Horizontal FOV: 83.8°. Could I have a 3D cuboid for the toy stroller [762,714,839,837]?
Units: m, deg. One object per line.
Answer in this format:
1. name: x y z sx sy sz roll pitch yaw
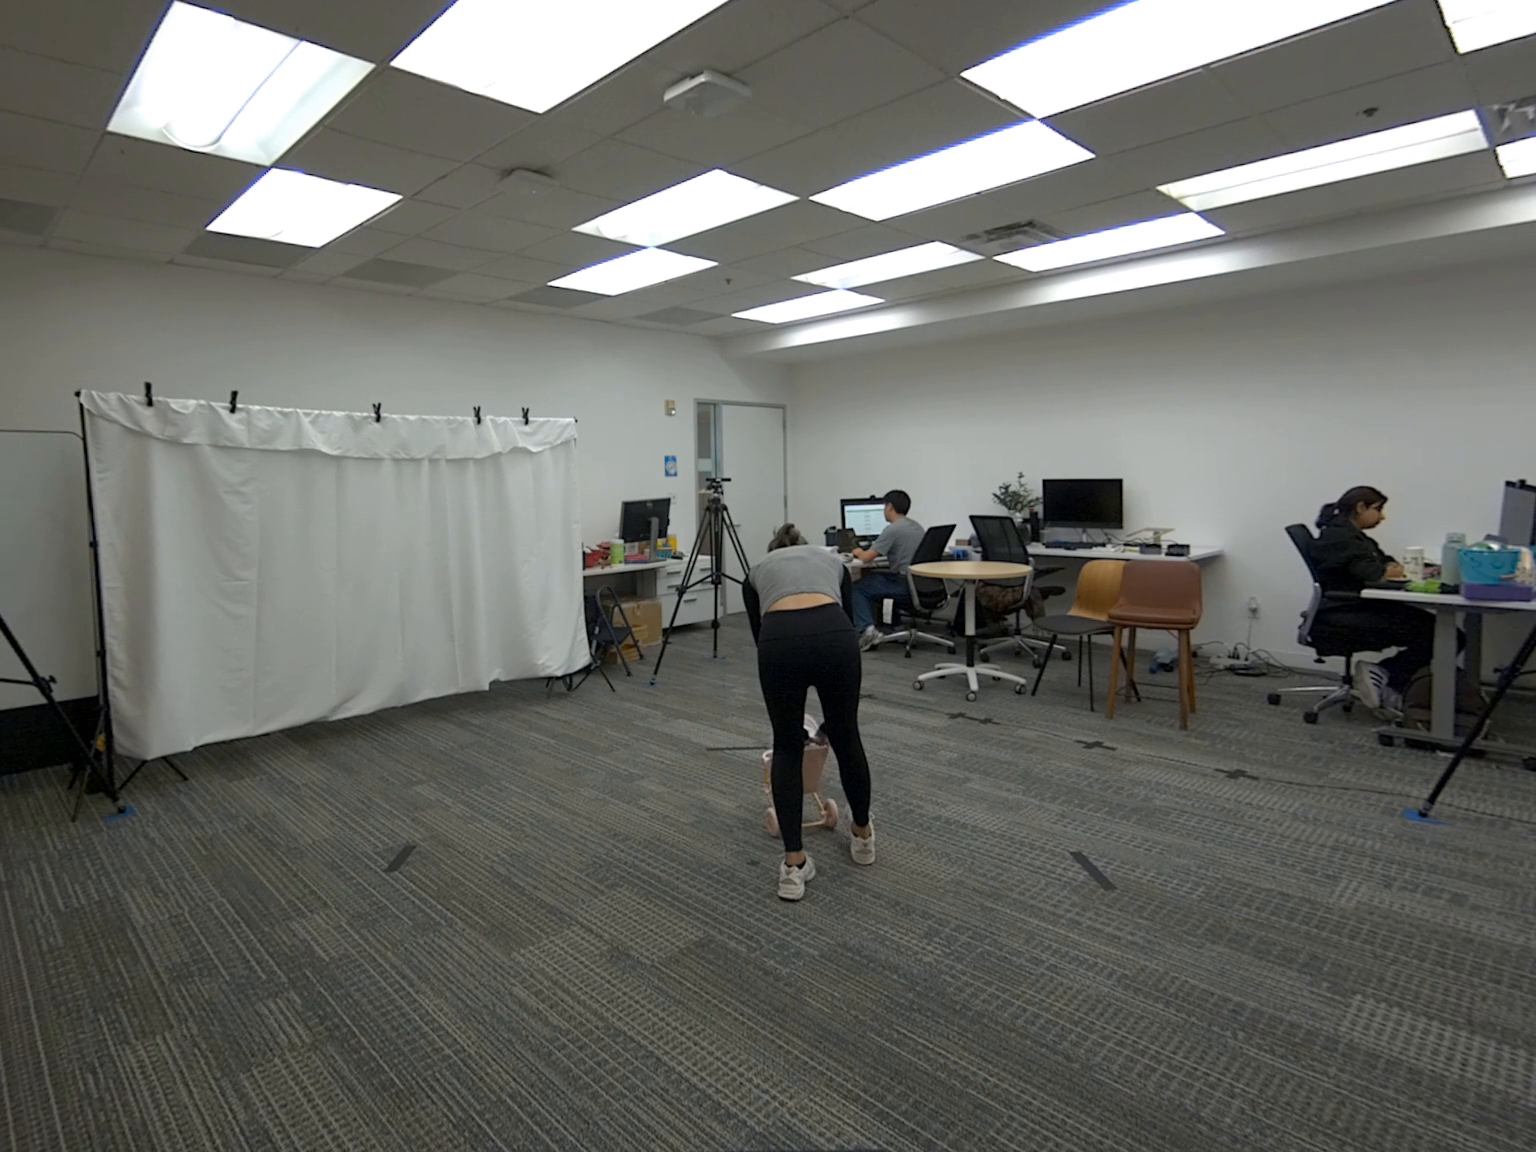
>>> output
1. toy stroller: 0.115 0.781 3.426 0.278 0.526 0.351 -2 21 -15
